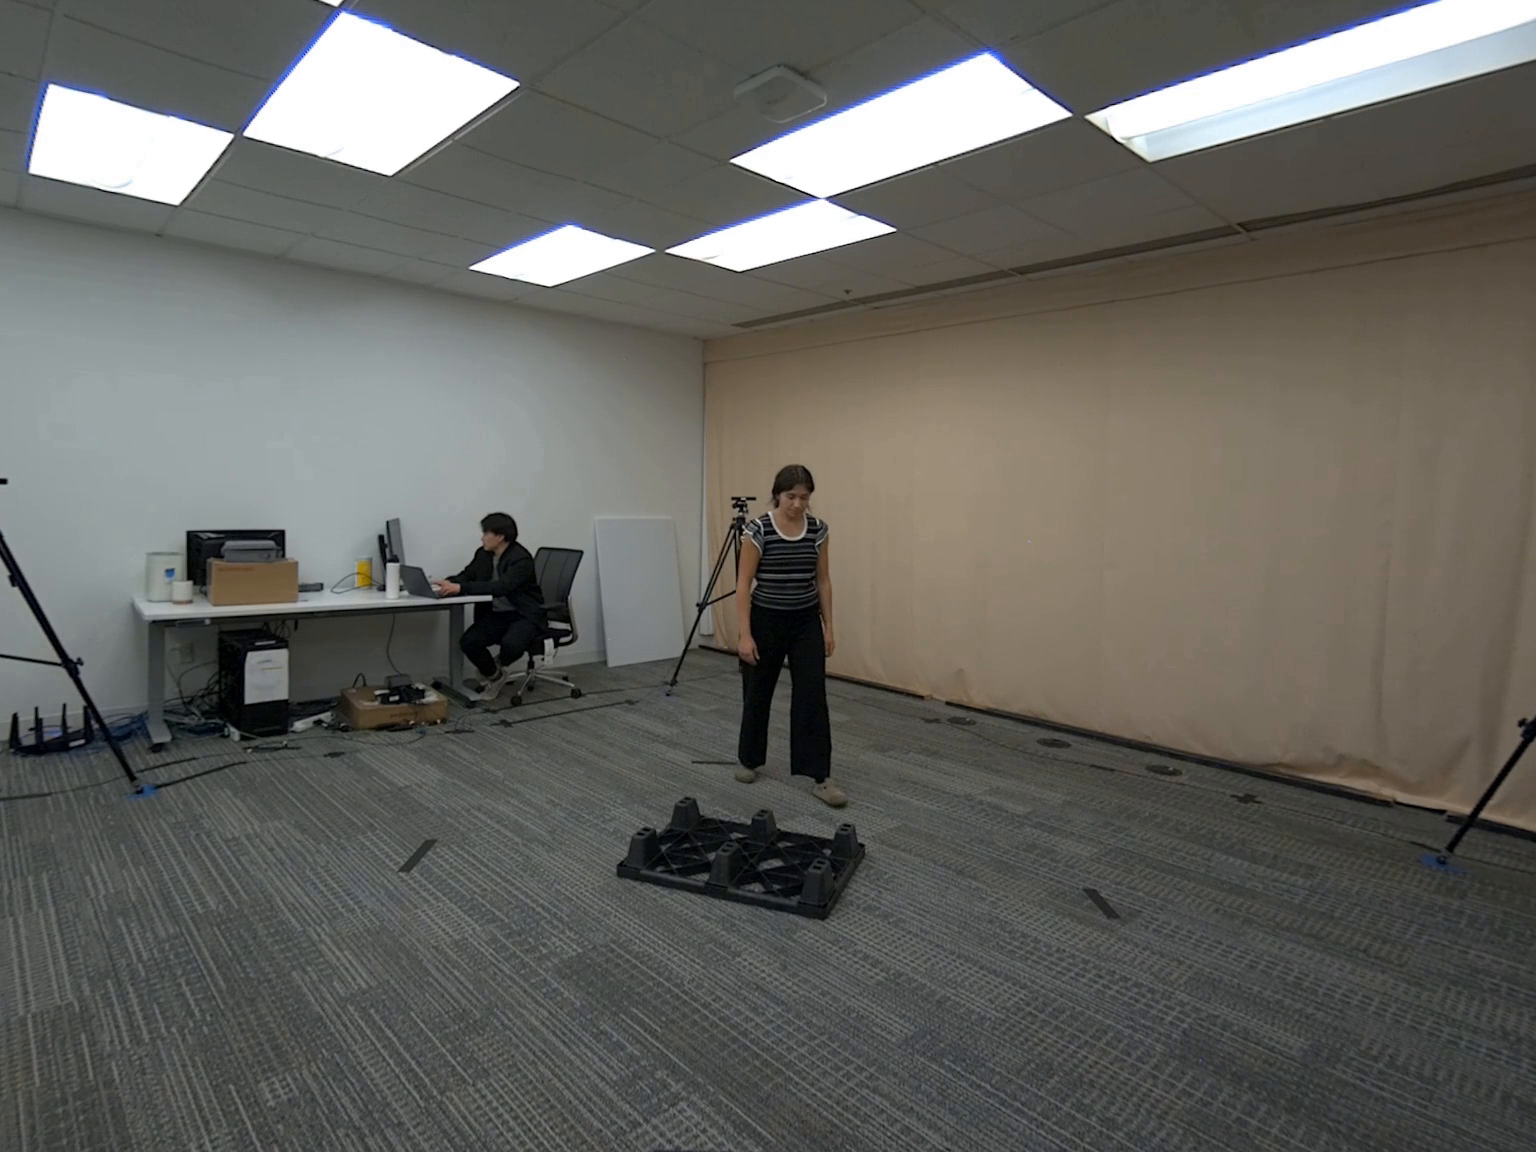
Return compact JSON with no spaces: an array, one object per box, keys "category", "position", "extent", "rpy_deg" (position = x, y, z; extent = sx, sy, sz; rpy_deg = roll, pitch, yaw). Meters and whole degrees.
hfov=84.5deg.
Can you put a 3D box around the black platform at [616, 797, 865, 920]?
[{"category":"black platform","position":[-0.089,1.033,3.206],"extent":[0.819,0.143,0.597],"rpy_deg":[3,6,21]}]
